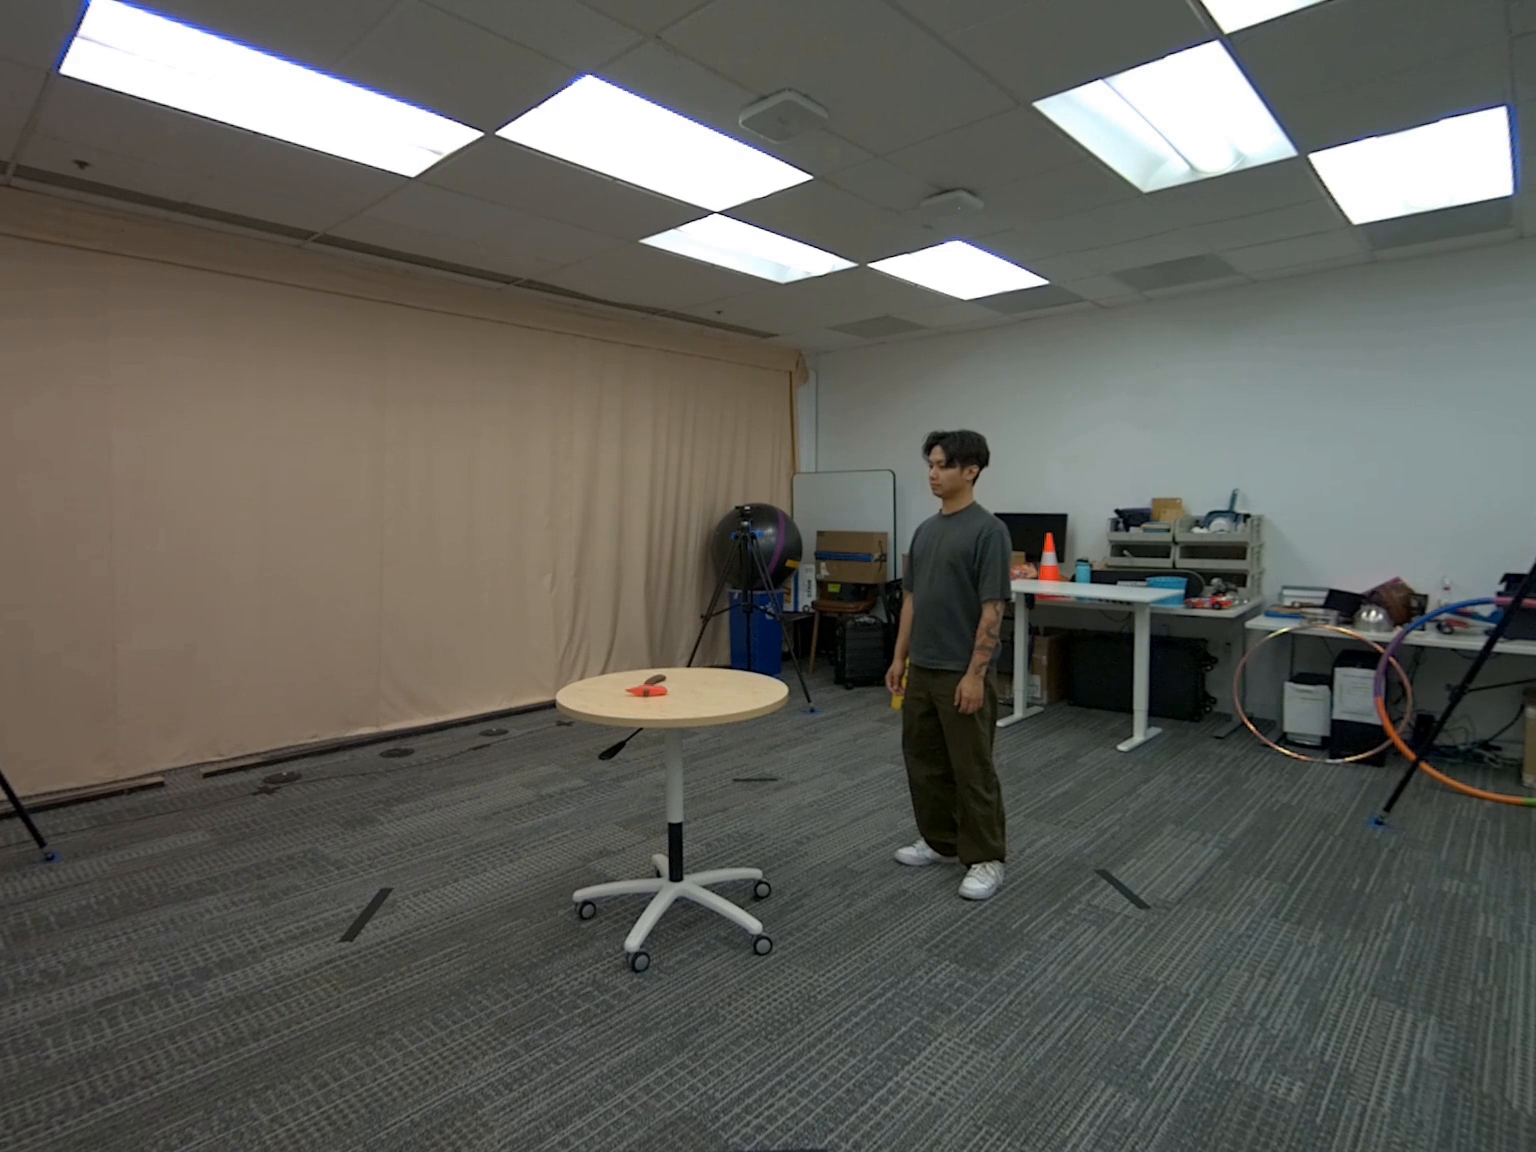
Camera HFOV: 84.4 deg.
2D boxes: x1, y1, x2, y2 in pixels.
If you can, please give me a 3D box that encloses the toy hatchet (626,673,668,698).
[{"bbox_3d":[-0.371,0.367,2.818,0.133,0.029,0.266,2,4,15],"label":"toy hatchet"}]
